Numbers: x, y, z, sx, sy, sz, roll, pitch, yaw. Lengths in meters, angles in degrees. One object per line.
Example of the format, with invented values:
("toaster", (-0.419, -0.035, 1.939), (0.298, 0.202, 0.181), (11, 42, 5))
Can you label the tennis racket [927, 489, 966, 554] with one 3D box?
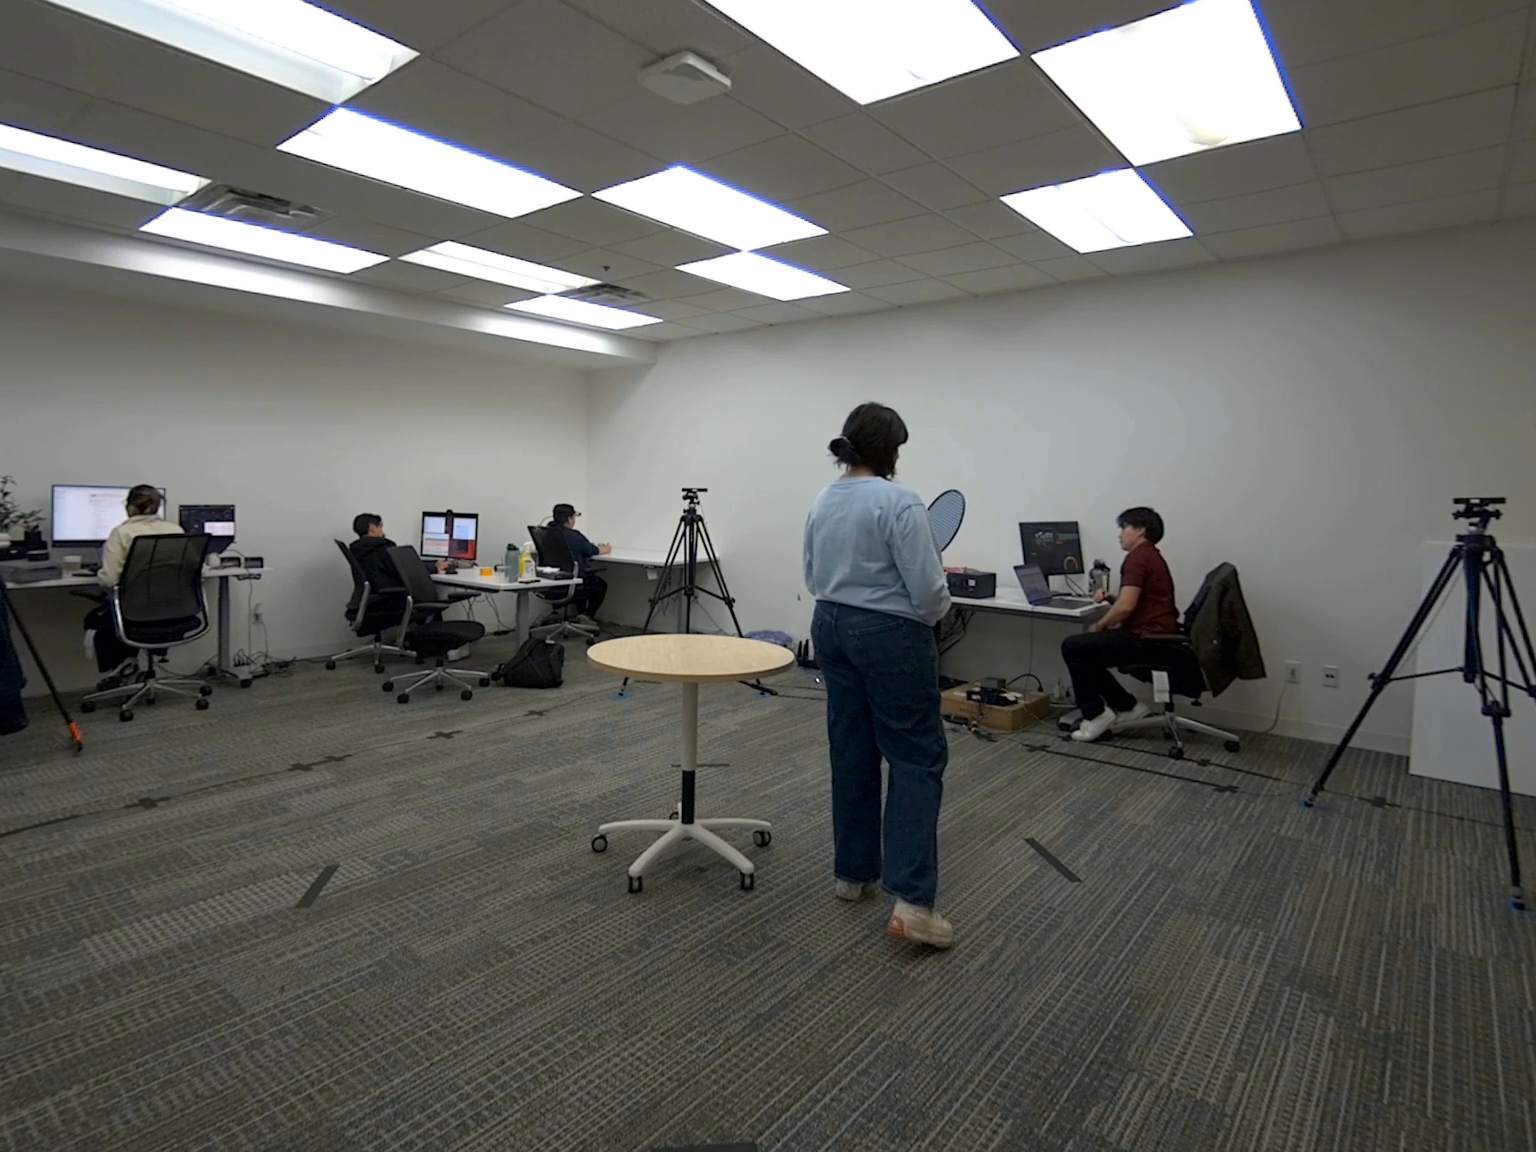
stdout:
("tennis racket", (0.564, -0.111, 2.992), (0.031, 0.431, 0.221), (24, 13, -28))
